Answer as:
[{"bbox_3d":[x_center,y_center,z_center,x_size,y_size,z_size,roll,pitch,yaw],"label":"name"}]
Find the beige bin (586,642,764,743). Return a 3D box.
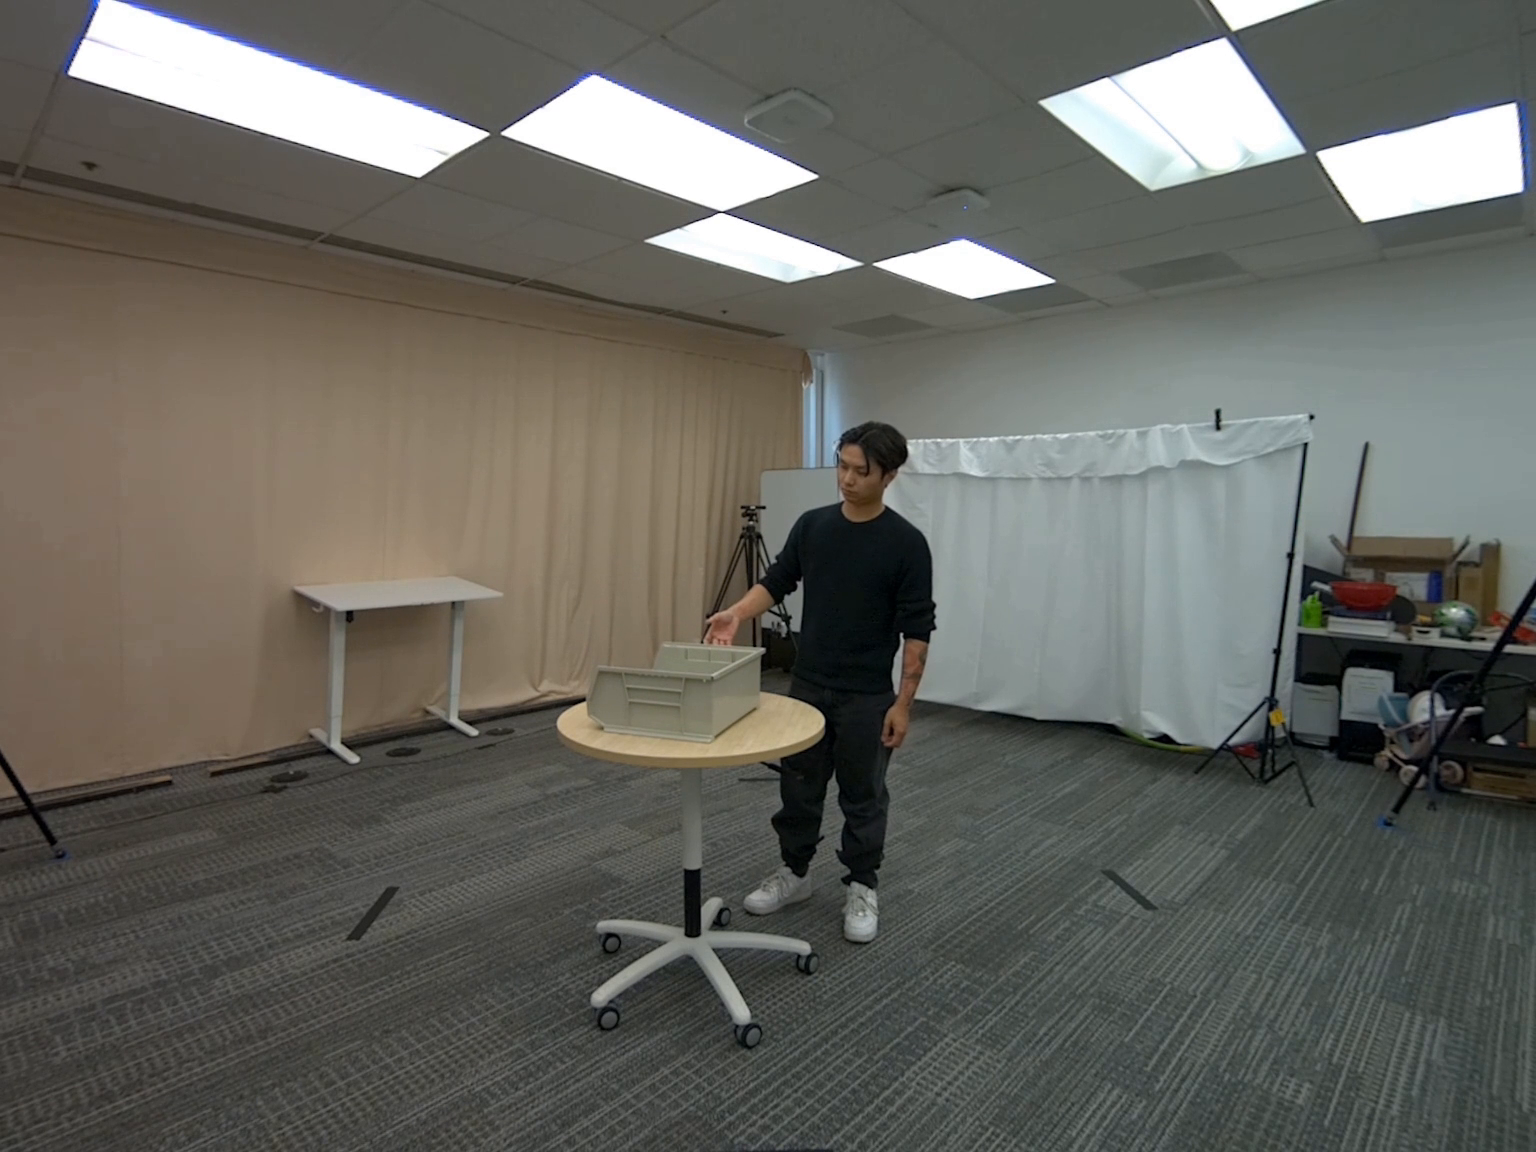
[{"bbox_3d":[-0.256,0.333,2.395,0.384,0.188,0.416,0,4,15],"label":"beige bin"}]
